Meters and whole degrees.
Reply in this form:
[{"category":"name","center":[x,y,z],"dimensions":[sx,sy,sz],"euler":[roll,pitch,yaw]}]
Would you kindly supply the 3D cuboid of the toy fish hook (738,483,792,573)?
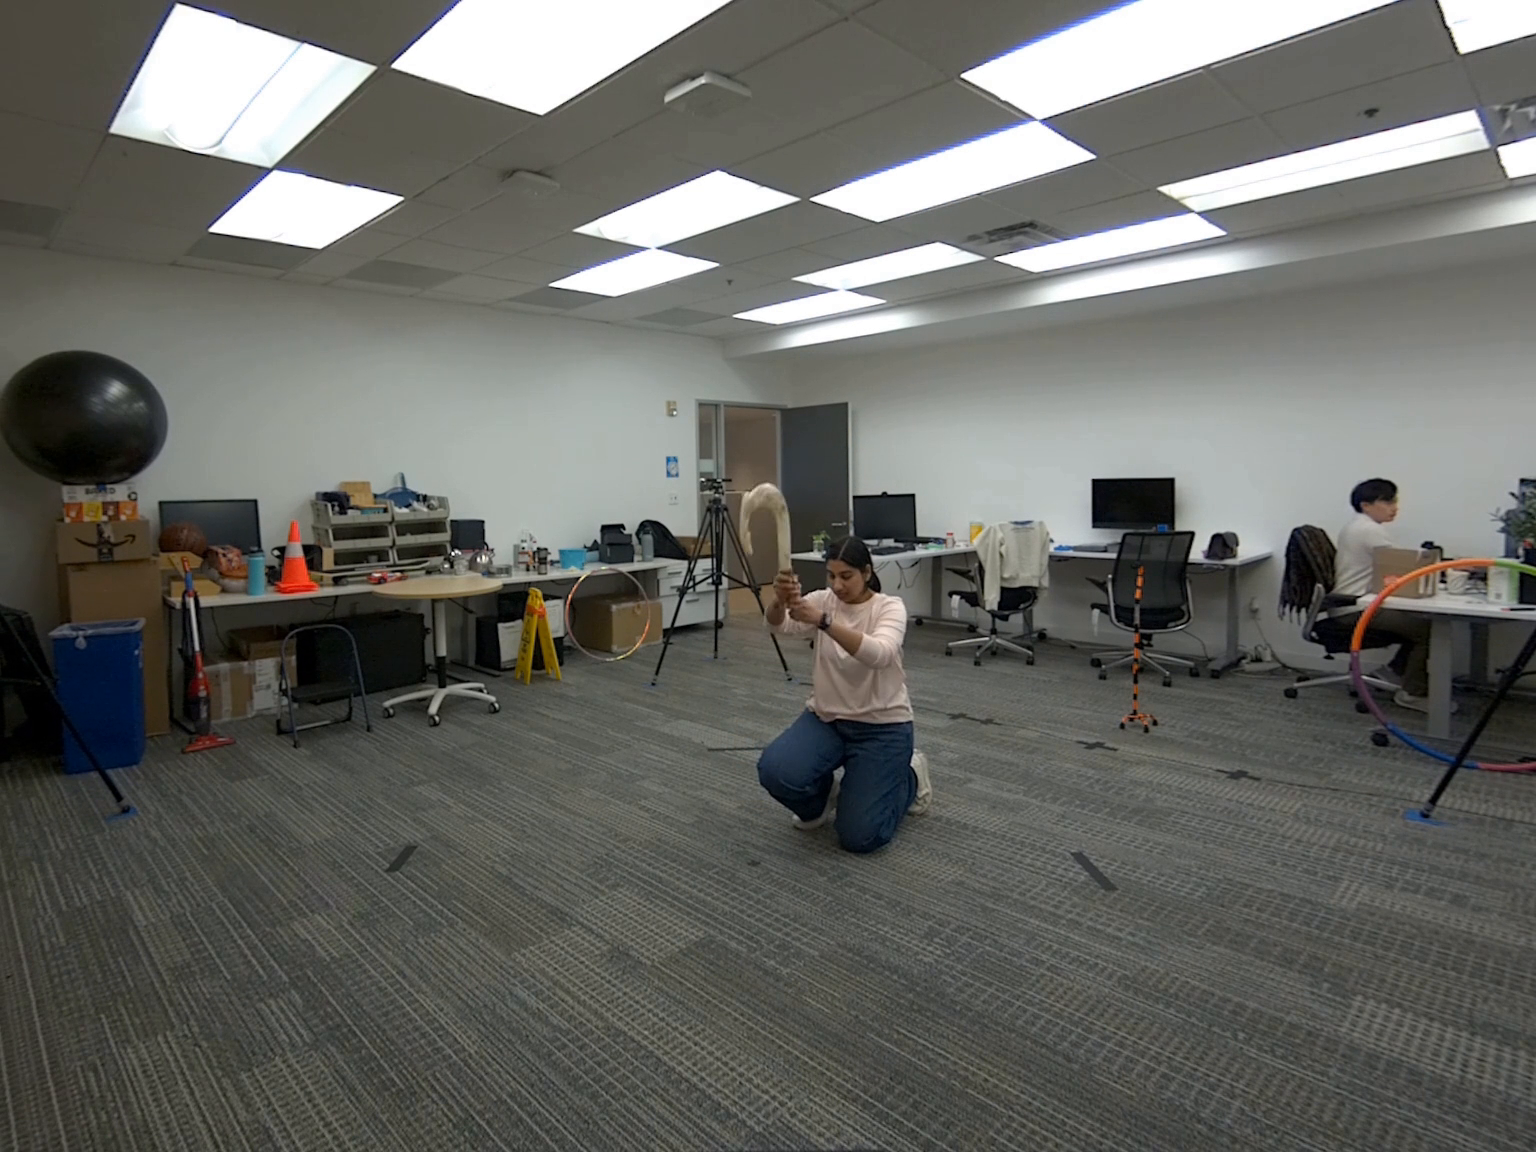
[{"category":"toy fish hook","center":[0.024,-0.040,2.846],"dimensions":[0.222,0.497,0.050],"euler":[-28,22,-35]}]
